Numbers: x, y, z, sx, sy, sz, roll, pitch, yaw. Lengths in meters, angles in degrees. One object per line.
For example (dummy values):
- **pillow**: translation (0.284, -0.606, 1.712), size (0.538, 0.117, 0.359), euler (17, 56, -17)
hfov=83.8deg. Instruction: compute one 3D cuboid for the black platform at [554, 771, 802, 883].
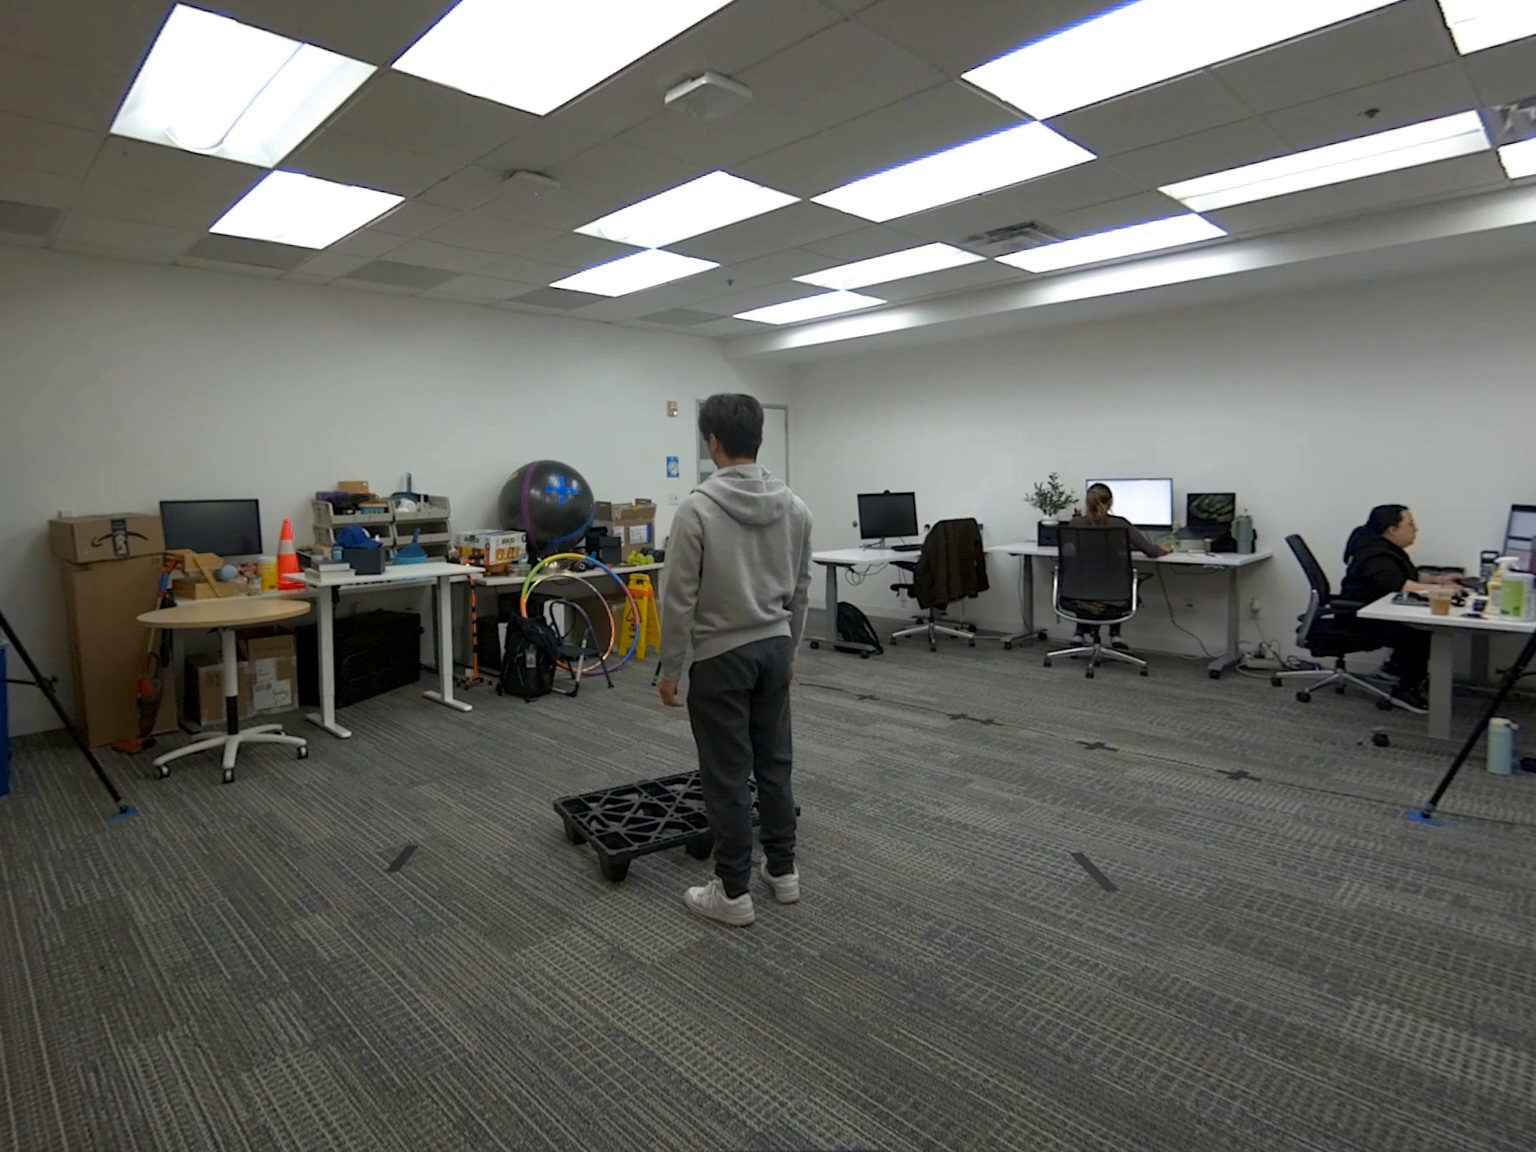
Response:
- **black platform**: translation (-0.356, 0.957, 3.353), size (0.786, 0.142, 0.623), euler (-5, 8, -31)
